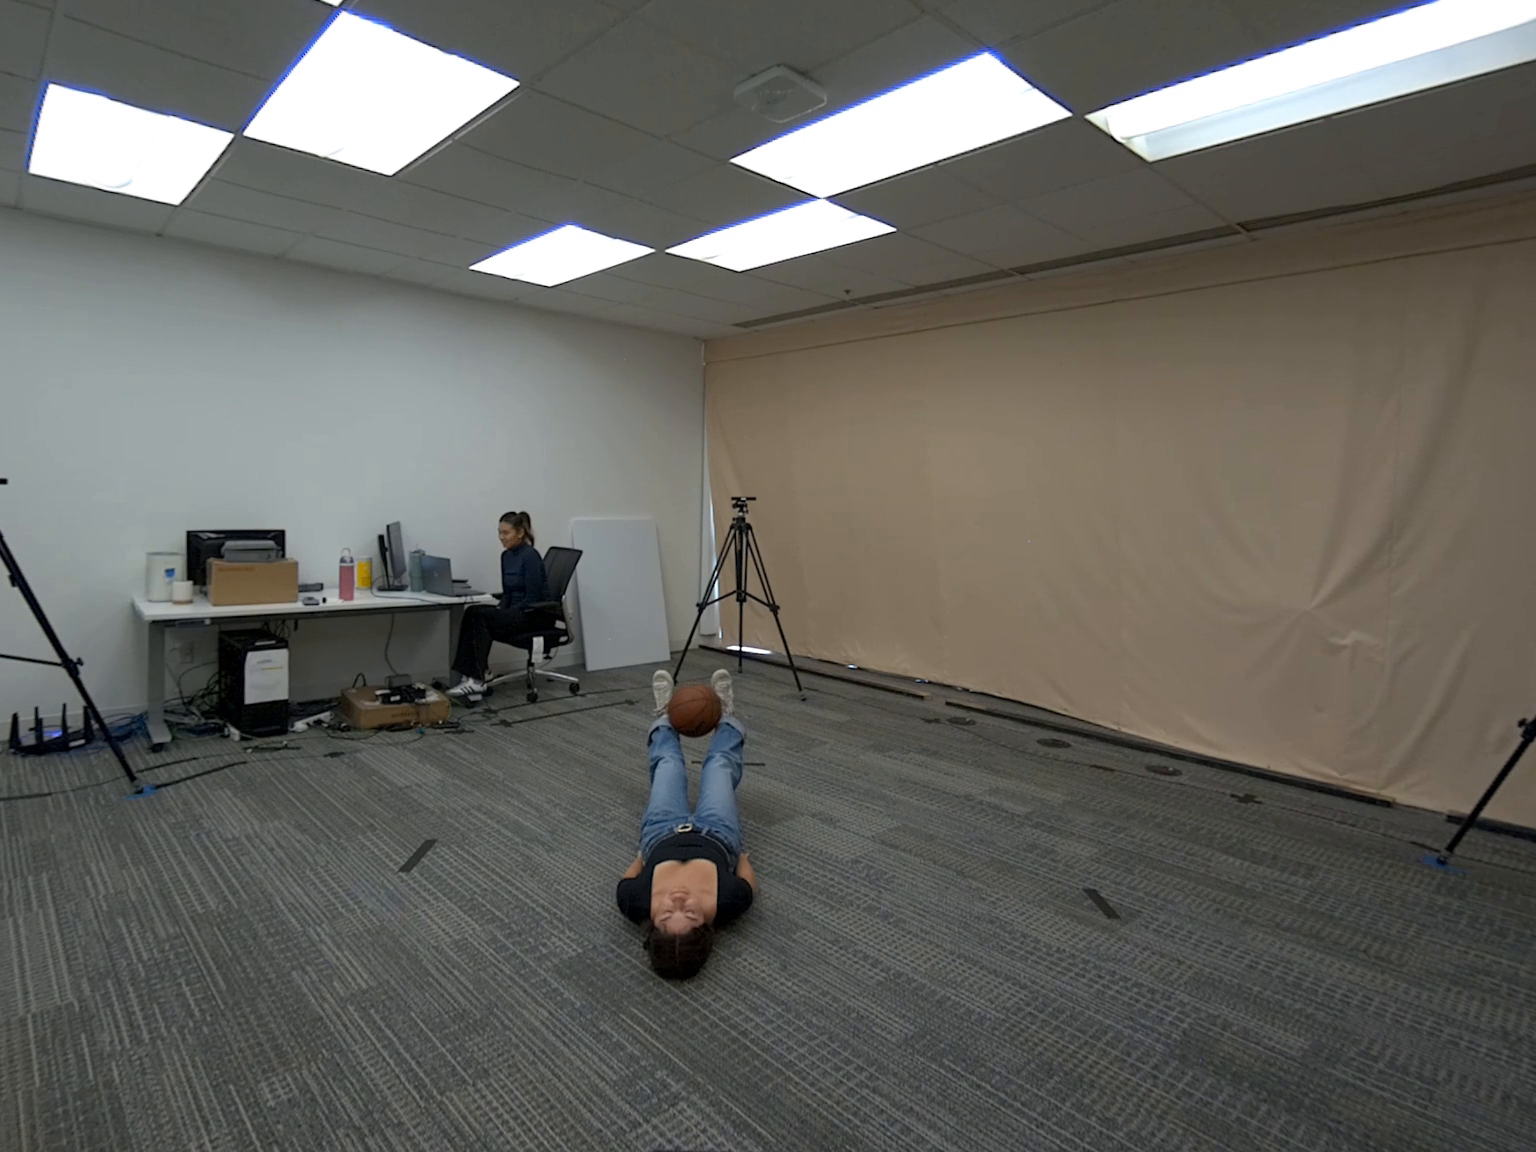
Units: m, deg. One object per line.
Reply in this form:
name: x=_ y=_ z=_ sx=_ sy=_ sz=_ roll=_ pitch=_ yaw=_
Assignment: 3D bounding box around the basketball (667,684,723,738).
basketball: x=-0.342 y=0.601 z=3.779 sx=0.236 sy=0.235 sz=0.237 roll=1 pitch=4 yaw=-1
